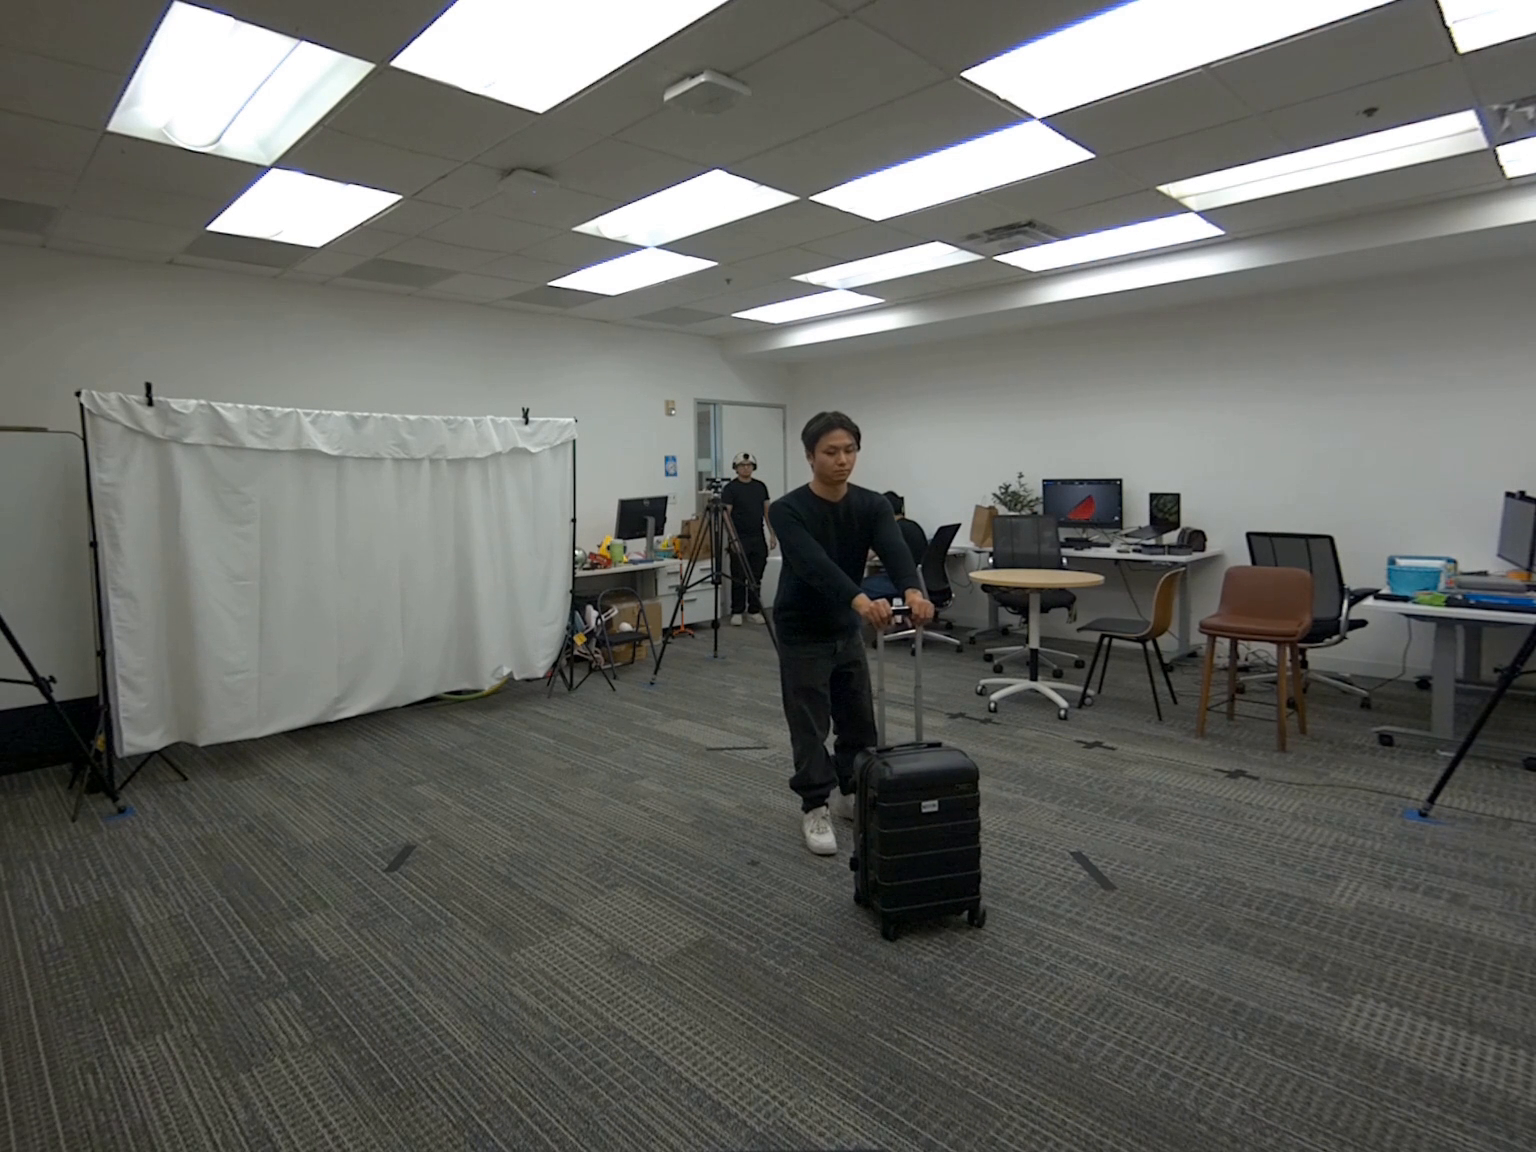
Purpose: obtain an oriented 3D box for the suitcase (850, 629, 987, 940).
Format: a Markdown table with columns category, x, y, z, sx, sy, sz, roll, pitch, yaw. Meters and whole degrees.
| category | x | y | z | sx | sy | sz | roll | pitch | yaw |
| --- | --- | --- | --- | --- | --- | --- | --- | --- | --- |
| suitcase | 0.467 | 0.612 | 2.663 | 0.380 | 0.972 | 0.261 | -3 | 7 | -11 |
